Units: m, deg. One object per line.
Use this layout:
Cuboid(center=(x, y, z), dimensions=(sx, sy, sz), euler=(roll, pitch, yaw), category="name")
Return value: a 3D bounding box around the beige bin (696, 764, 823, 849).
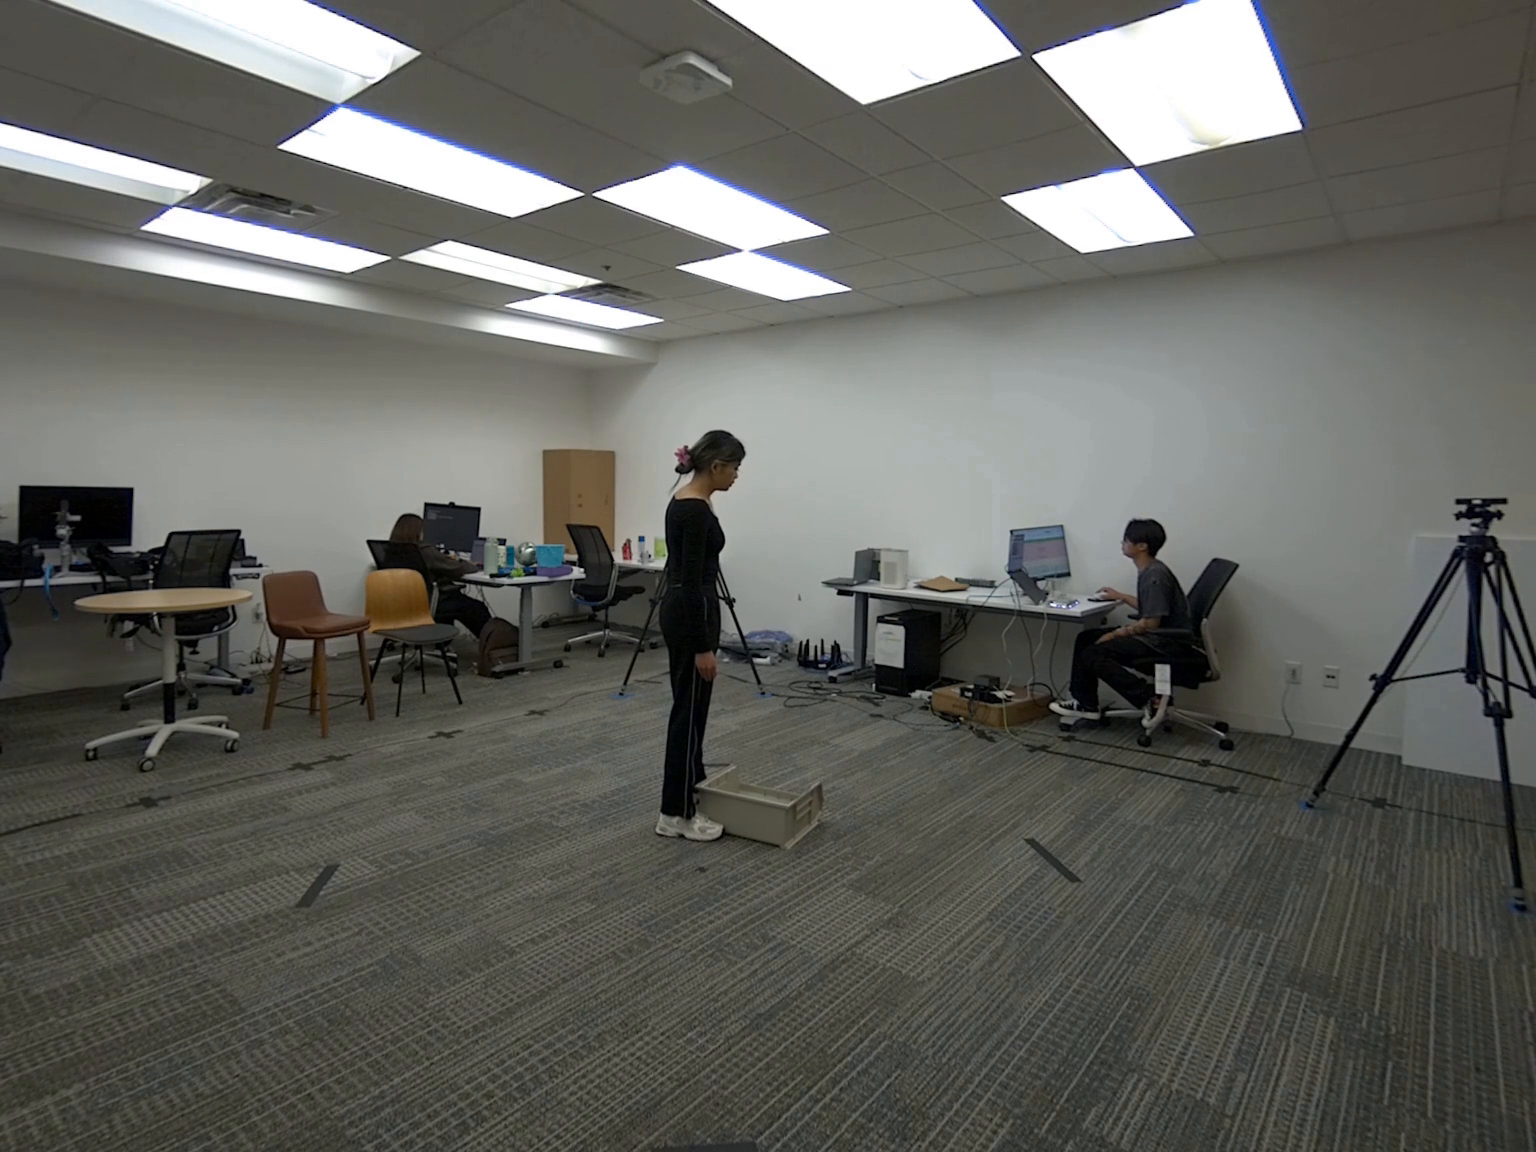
Cuboid(center=(-0.037, 0.942, 3.536), dimensions=(0.434, 0.188, 0.369), euler=(3, 7, 28), category="beige bin")
